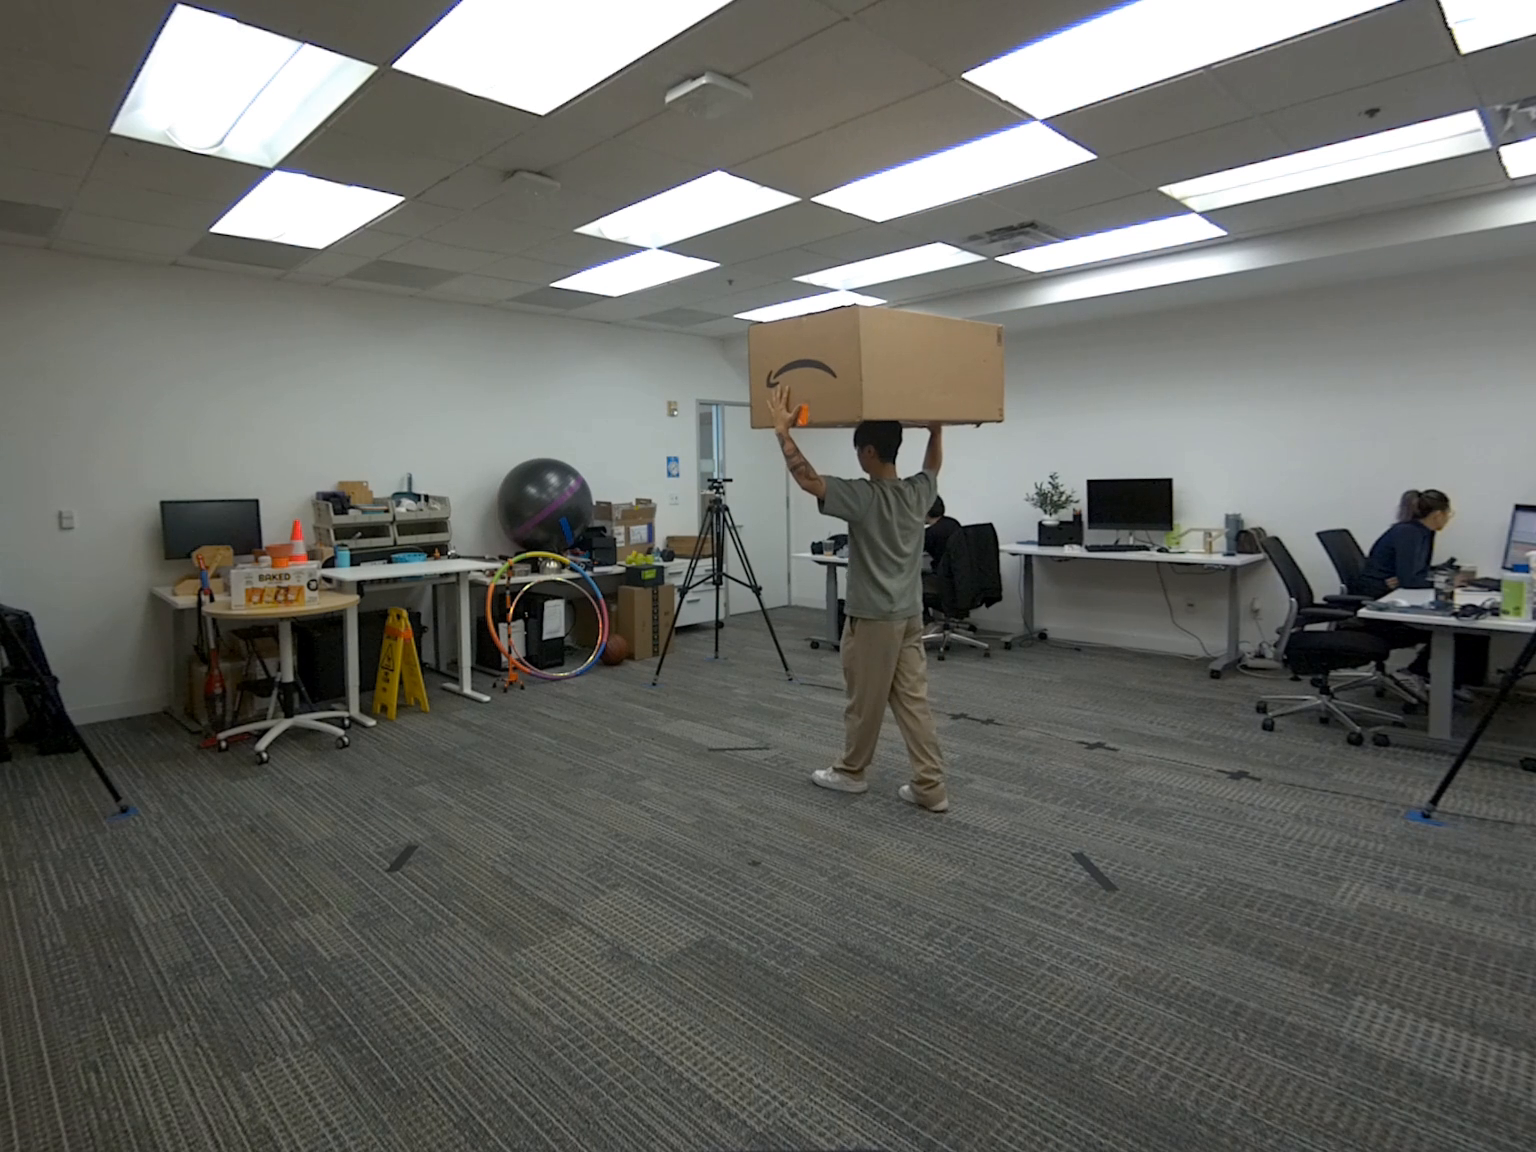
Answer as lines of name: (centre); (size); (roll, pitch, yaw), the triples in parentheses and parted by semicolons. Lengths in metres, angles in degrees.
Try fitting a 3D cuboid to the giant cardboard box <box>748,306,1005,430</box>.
giant cardboard box: (0.479, -0.857, 3.635); (1.000, 0.424, 0.595); (-9, 9, -43)
